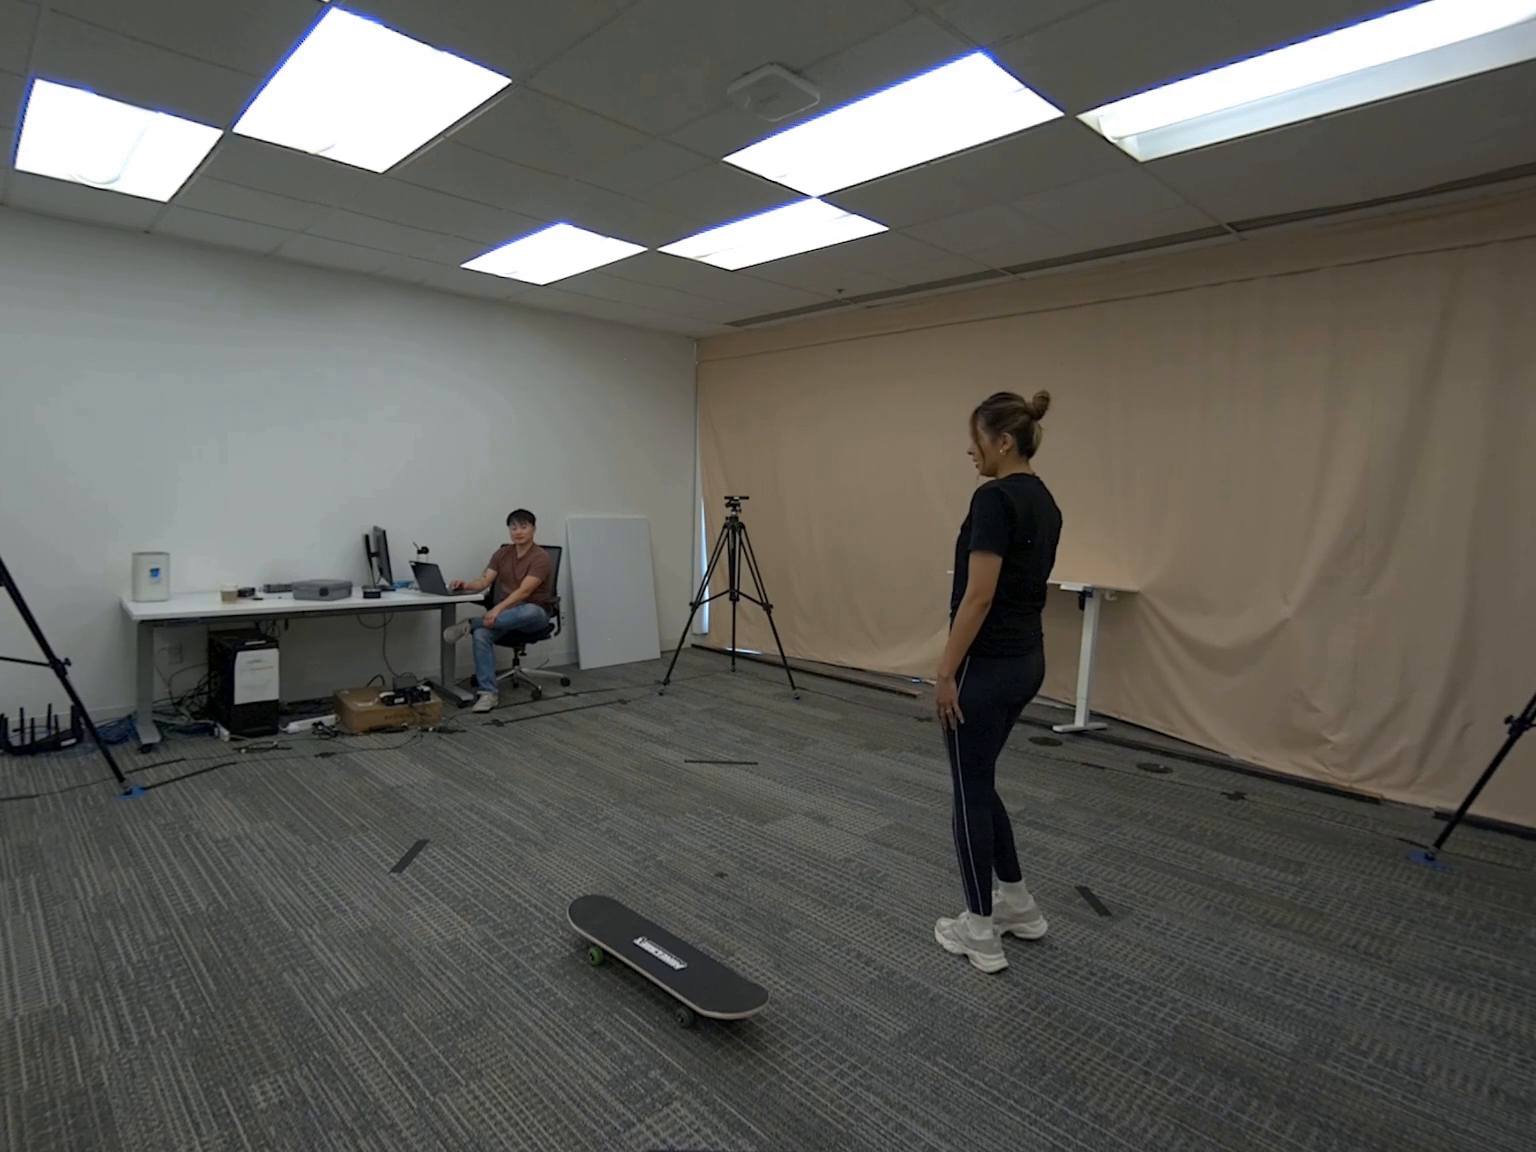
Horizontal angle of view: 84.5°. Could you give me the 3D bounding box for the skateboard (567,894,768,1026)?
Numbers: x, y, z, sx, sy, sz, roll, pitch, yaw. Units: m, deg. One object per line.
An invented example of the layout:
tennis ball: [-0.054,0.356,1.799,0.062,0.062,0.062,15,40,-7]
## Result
skateboard: [-0.320,1.111,2.402,0.806,0.110,0.189,6,6,43]
